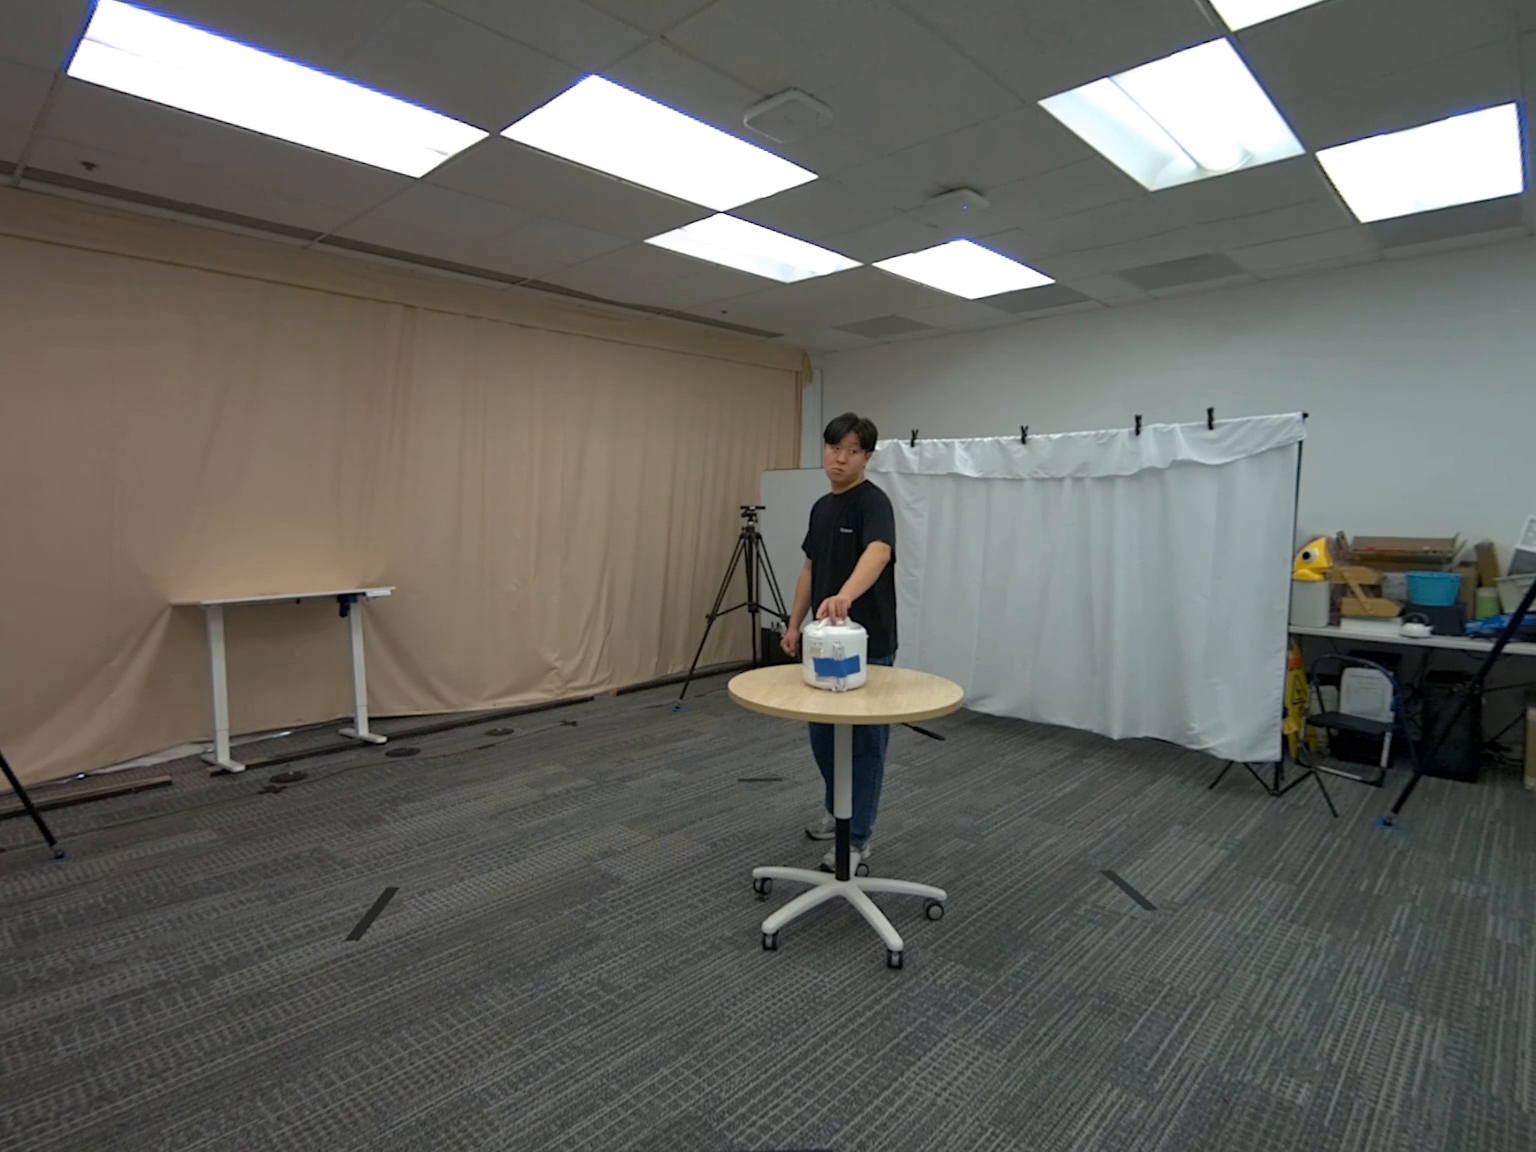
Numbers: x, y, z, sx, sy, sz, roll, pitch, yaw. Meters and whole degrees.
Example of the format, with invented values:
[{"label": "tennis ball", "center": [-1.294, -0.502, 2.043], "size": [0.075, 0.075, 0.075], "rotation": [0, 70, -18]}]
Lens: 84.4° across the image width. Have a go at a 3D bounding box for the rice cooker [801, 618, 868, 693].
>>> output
[{"label": "rice cooker", "center": [0.220, 0.246, 2.790], "size": [0.225, 0.232, 0.214], "rotation": [6, 7, 43]}]
